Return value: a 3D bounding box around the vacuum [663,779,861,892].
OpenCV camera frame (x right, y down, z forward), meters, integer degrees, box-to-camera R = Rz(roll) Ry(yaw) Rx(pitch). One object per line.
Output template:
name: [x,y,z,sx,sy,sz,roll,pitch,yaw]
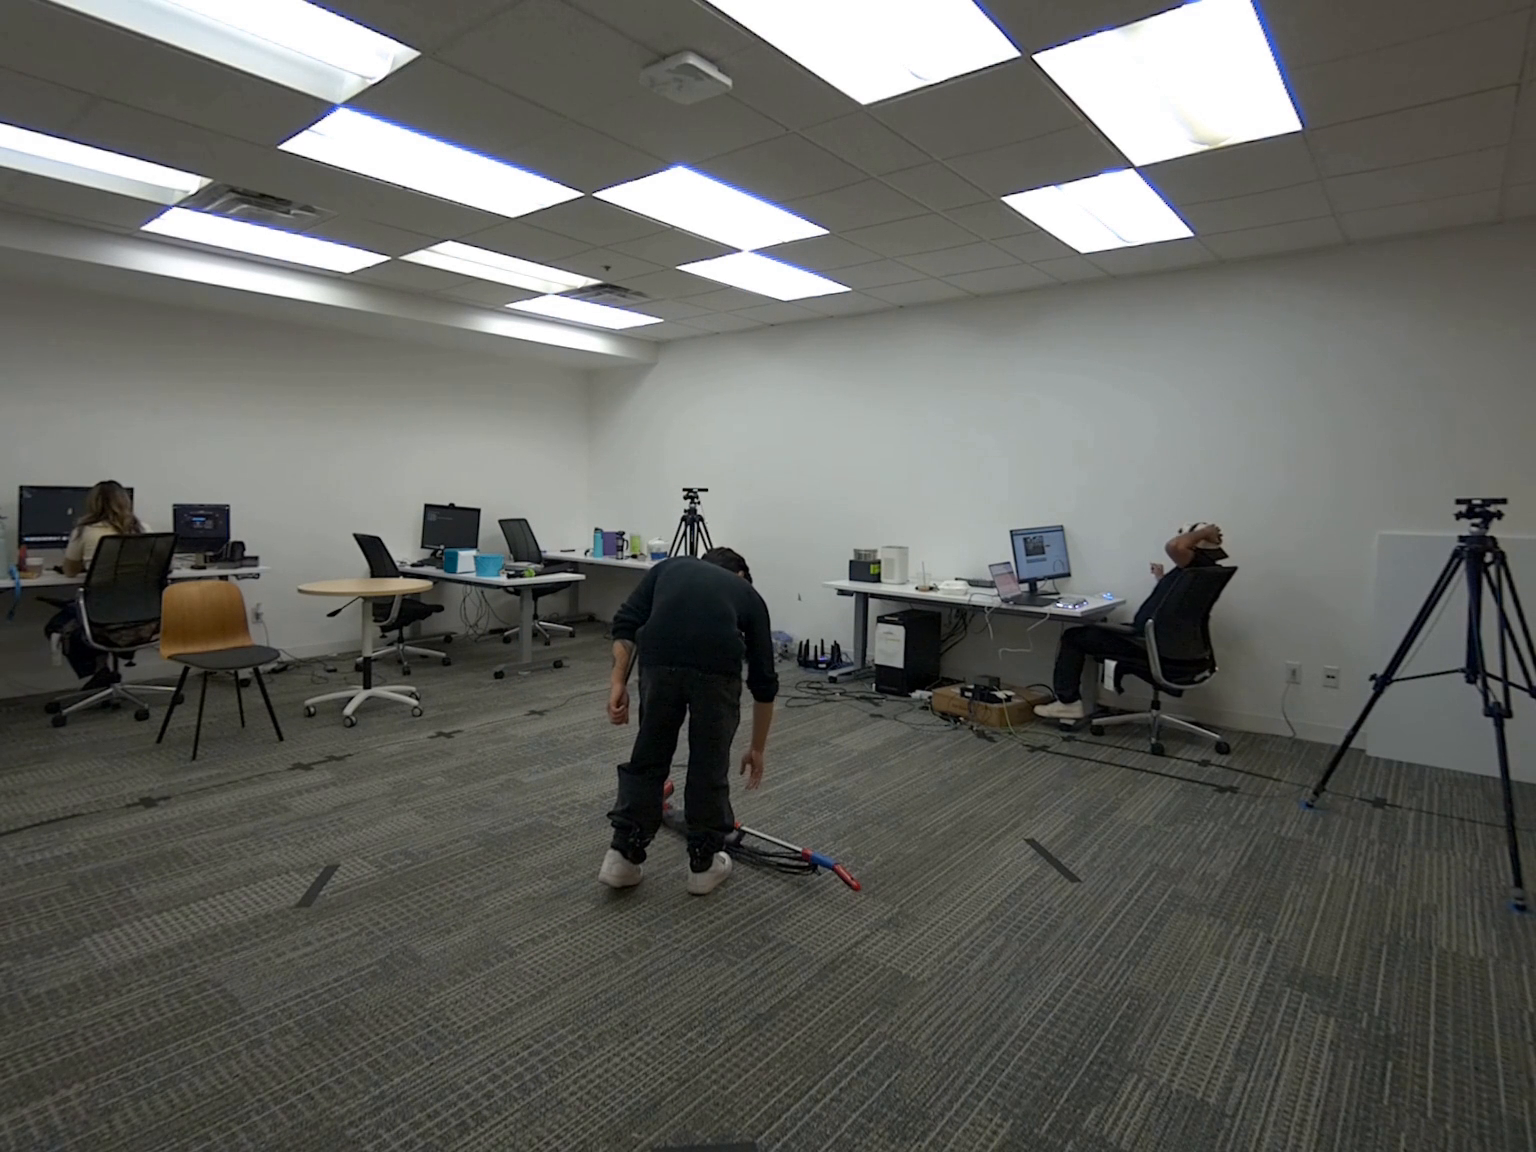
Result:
vacuum: [-0.099,0.998,3.217,1.086,0.143,0.245,7,10,43]
